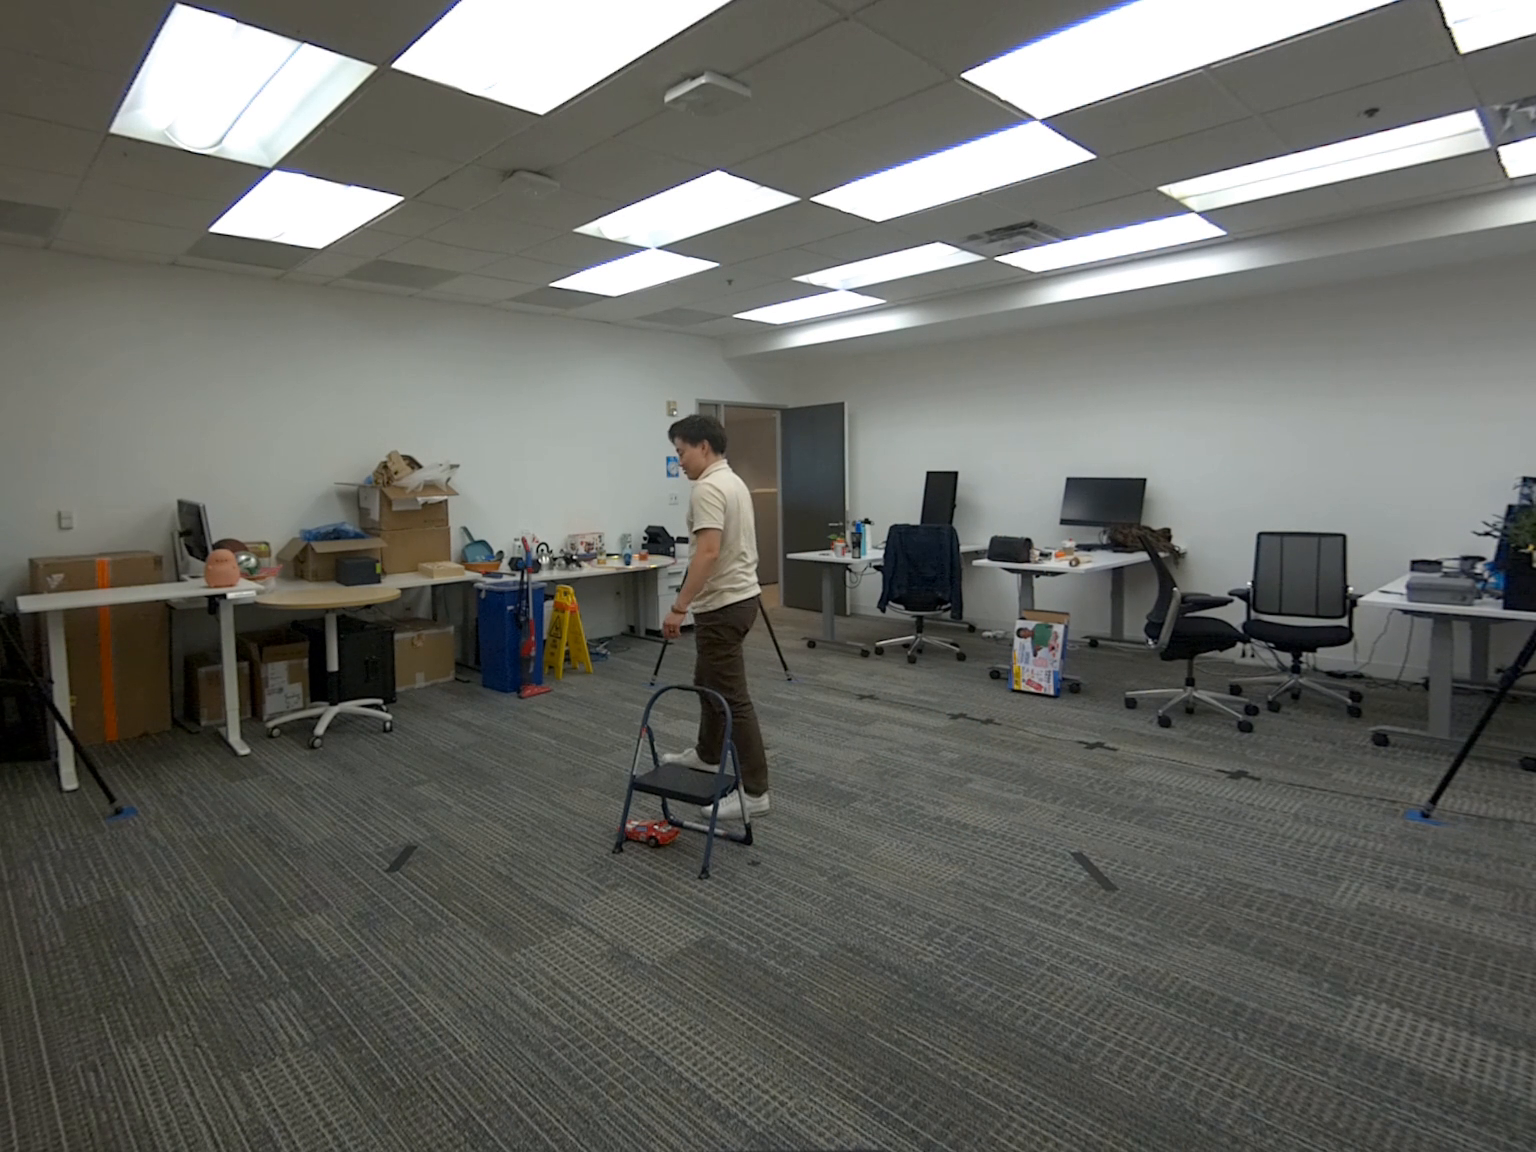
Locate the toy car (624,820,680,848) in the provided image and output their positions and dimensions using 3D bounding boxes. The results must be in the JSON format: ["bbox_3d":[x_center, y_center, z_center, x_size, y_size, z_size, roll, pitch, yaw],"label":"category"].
[{"bbox_3d":[-0.457,0.995,3.317,0.260,0.083,0.127,-10,1,30],"label":"toy car"}]
